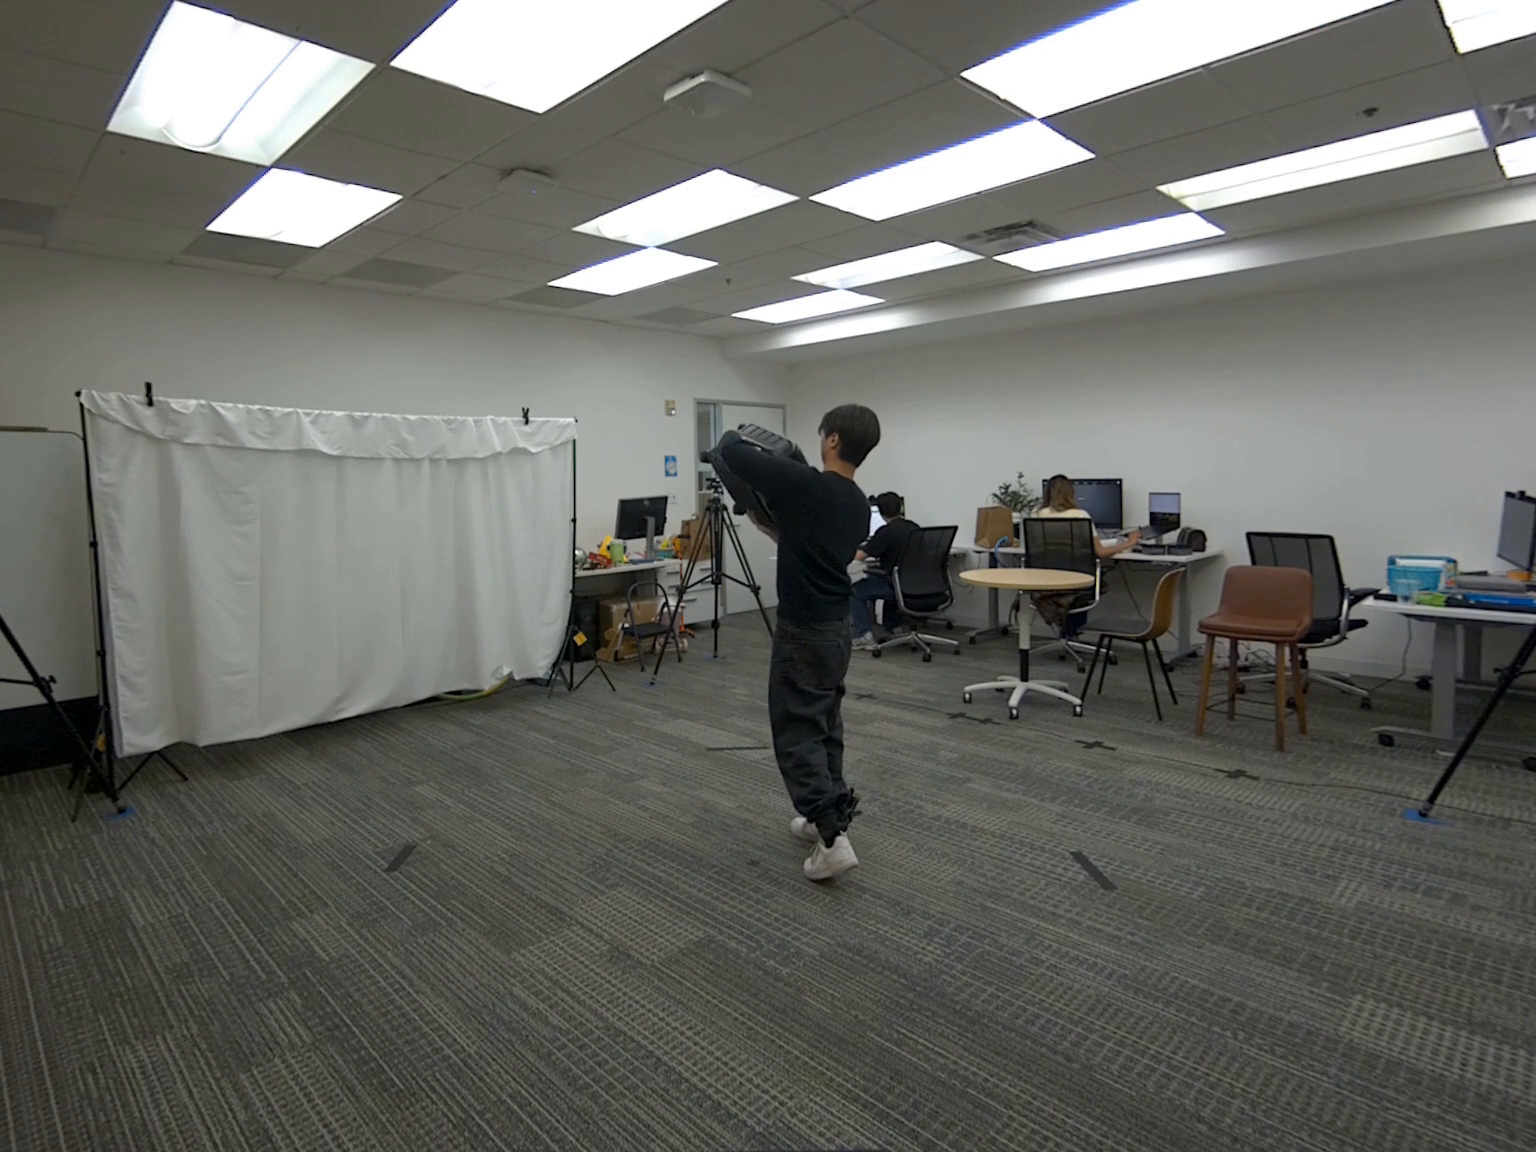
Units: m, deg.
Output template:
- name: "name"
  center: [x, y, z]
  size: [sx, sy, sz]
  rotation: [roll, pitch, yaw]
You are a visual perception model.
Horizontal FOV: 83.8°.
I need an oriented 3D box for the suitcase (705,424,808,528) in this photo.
- name: "suitcase"
  center: [-0.012, -0.408, 3.526]
  size: [0.248, 0.365, 0.567]
  rotation: [-36, 26, -9]
